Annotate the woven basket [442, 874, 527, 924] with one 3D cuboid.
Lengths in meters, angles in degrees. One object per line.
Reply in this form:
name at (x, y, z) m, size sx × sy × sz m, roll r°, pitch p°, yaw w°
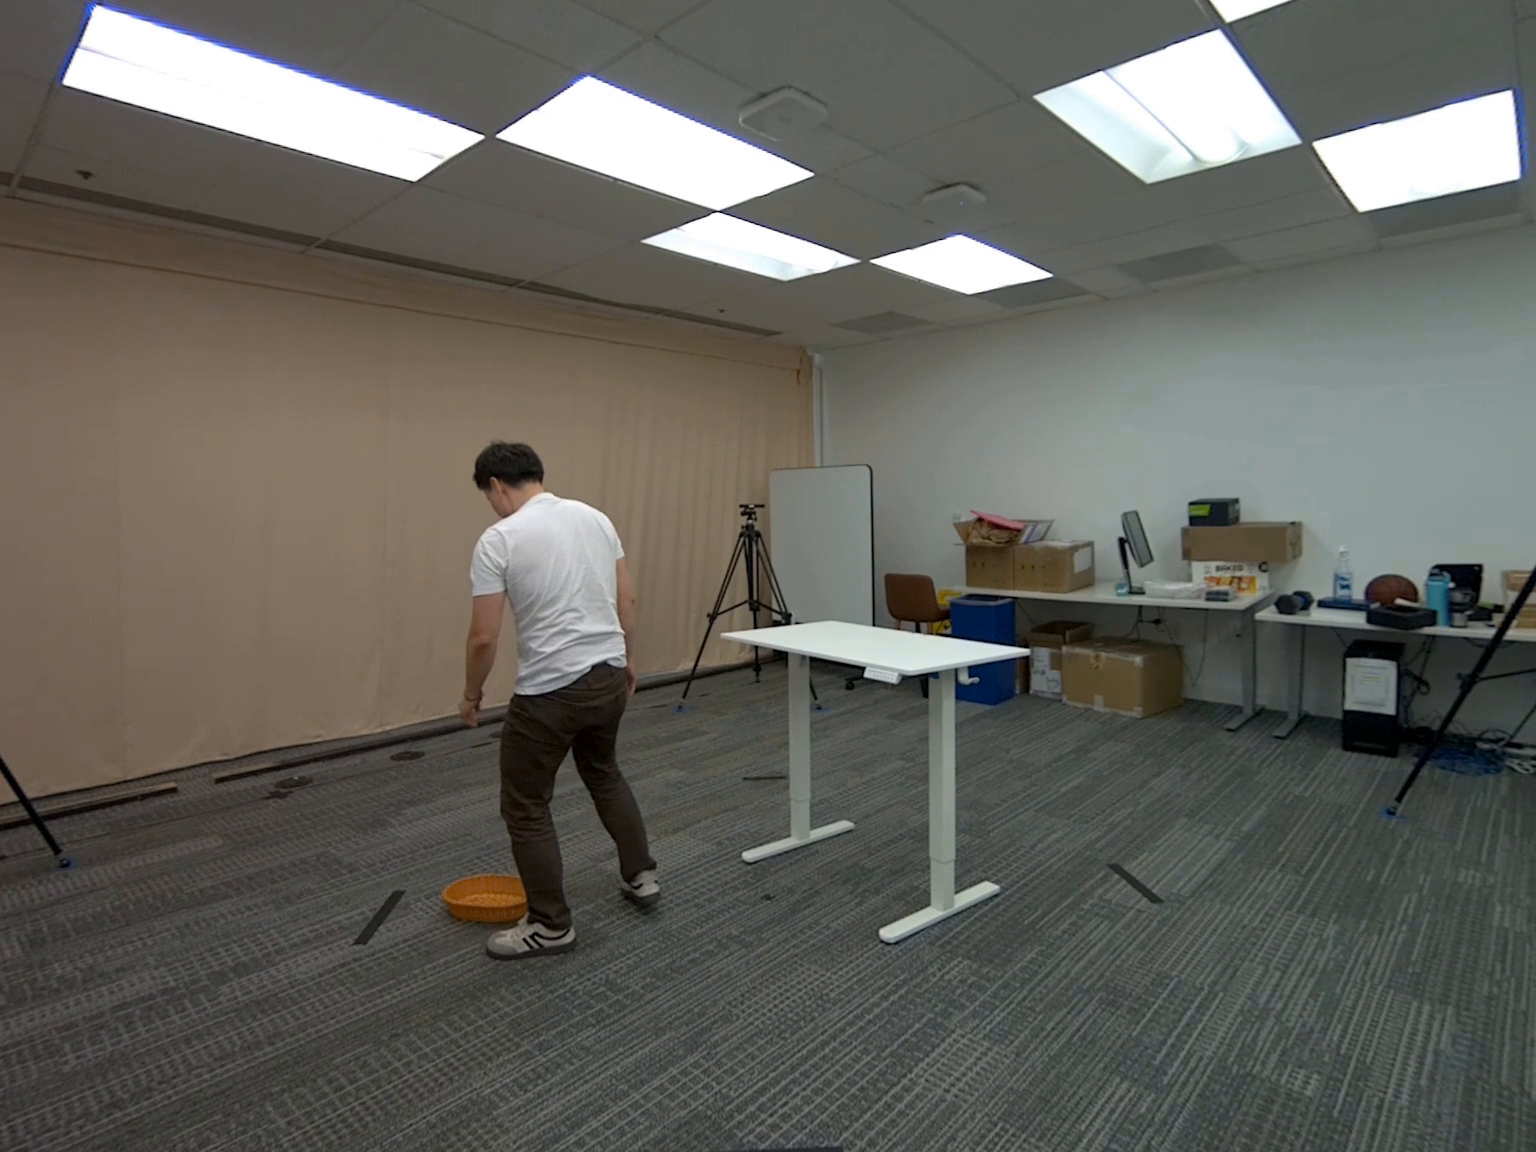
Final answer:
woven basket at (-0.962, 1.129, 2.941) m, size 0.355 × 0.073 × 0.249 m, roll -1°, pitch 4°, yaw 13°
